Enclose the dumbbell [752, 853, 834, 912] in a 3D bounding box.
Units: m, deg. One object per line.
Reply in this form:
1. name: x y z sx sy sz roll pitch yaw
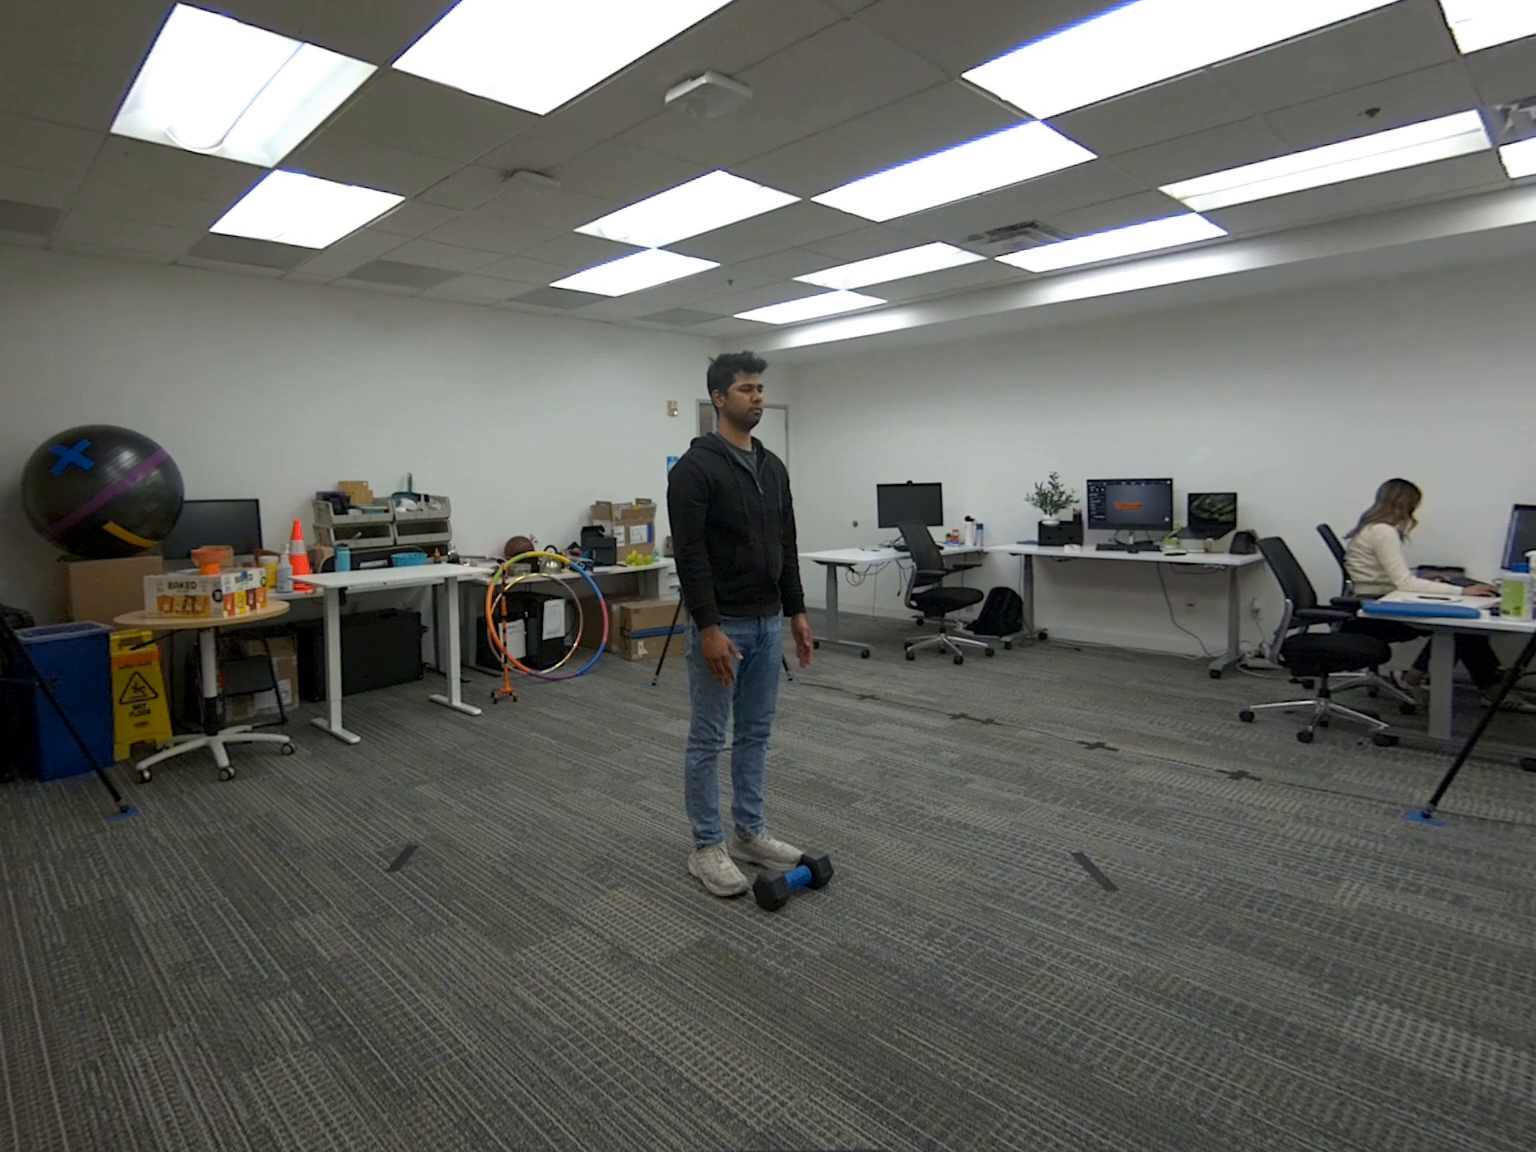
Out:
1. dumbbell: 0.090 1.015 2.862 0.286 0.121 0.113 -7 40 -43
